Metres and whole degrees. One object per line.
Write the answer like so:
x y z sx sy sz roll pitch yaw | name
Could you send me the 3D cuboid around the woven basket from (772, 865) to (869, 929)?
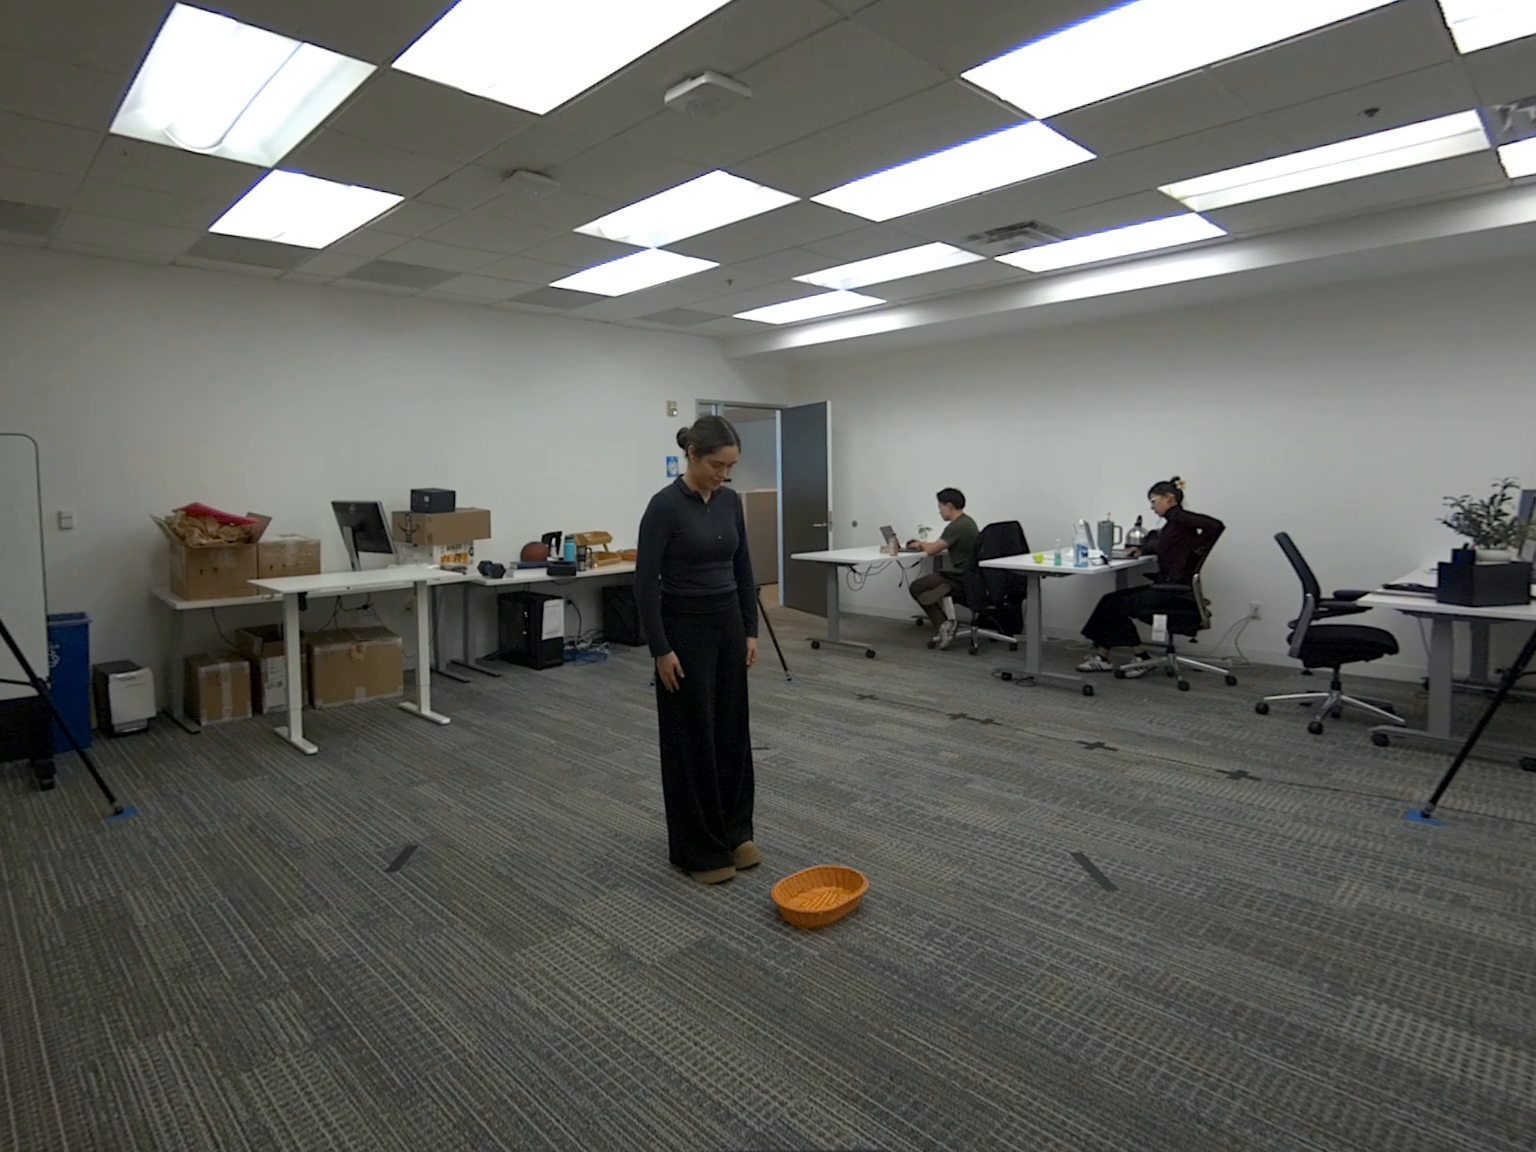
0.173 1.039 2.768 0.341 0.073 0.260 -7 8 -41 | woven basket
